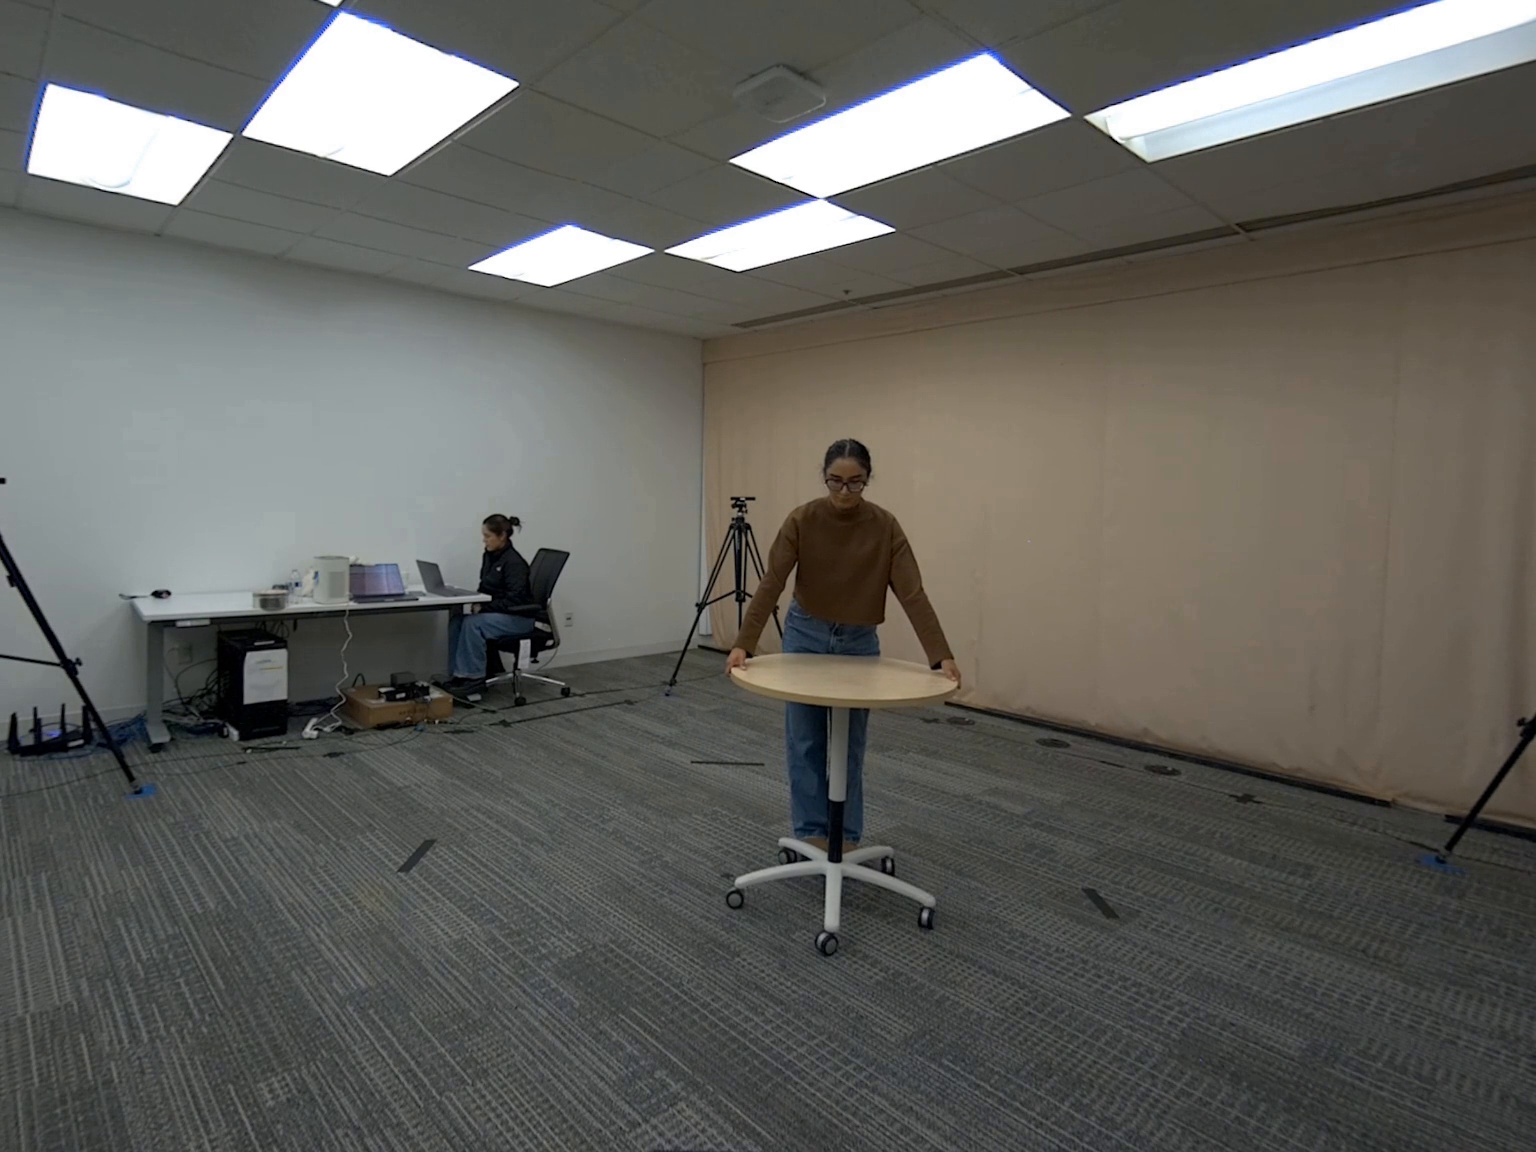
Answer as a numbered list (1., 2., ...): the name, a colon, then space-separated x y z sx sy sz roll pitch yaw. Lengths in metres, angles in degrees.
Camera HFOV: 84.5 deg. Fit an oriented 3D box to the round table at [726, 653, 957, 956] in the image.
1. round table: 0.242 0.732 2.885 0.784 0.784 0.788 2 5 -2
